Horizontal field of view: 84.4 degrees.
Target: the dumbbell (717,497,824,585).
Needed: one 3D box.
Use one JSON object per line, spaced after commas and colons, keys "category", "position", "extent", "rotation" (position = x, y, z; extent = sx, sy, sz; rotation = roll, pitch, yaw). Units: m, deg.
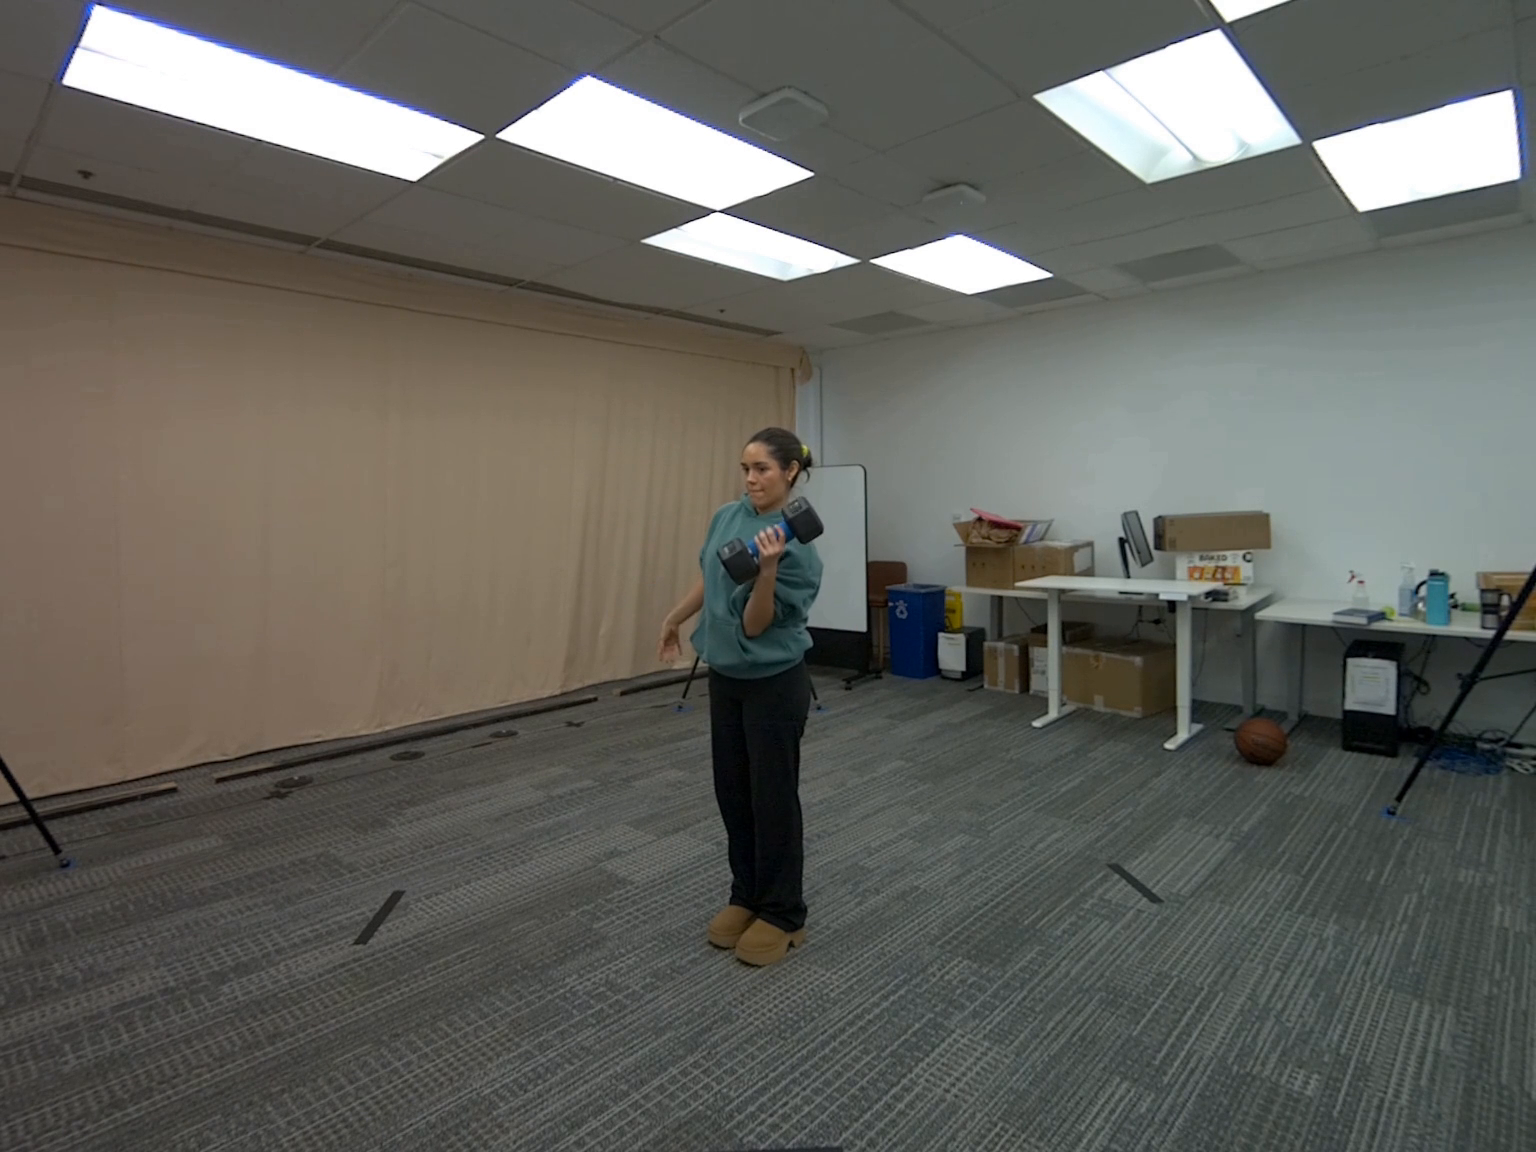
{"category": "dumbbell", "position": [0.007, -0.091, 2.343], "extent": [0.294, 0.111, 0.120], "rotation": [-31, -16, 3]}
